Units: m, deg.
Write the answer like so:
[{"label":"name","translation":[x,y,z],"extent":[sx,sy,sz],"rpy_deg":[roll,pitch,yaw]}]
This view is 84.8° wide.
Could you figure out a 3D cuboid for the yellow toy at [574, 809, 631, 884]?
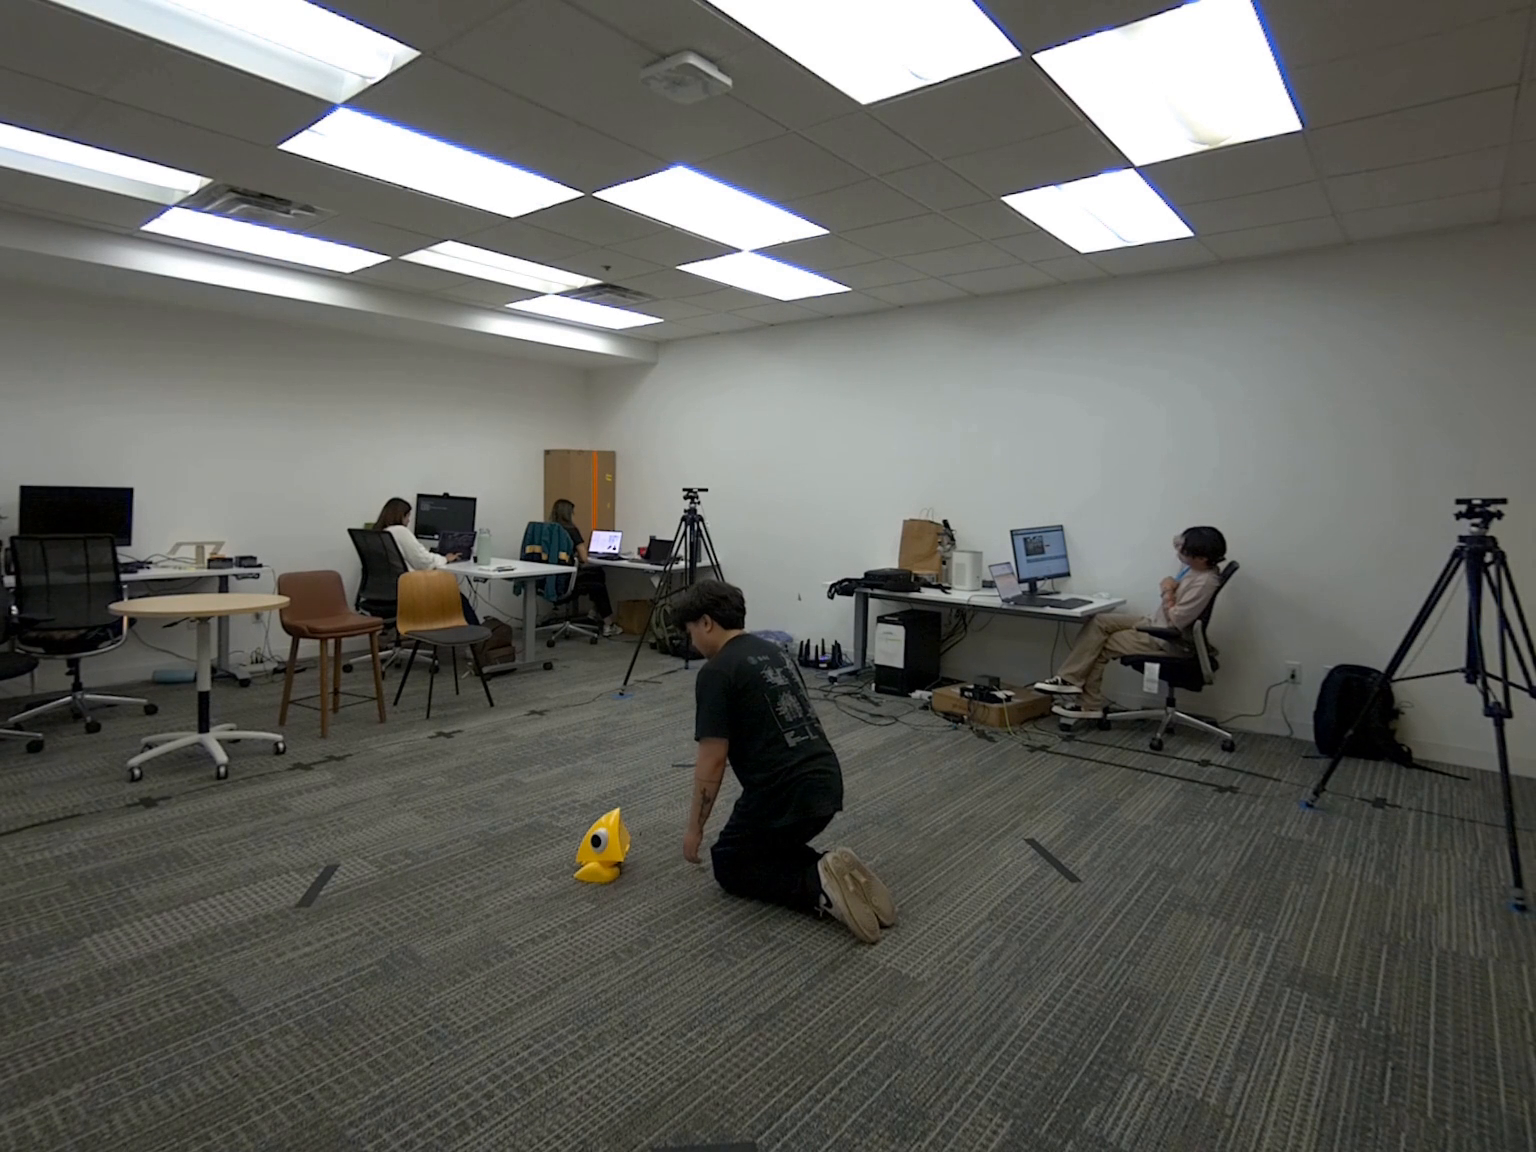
[{"label":"yellow toy","translation":[-0.617,0.956,3.082],"extent":[0.193,0.230,0.205],"rpy_deg":[1,3,0]}]
